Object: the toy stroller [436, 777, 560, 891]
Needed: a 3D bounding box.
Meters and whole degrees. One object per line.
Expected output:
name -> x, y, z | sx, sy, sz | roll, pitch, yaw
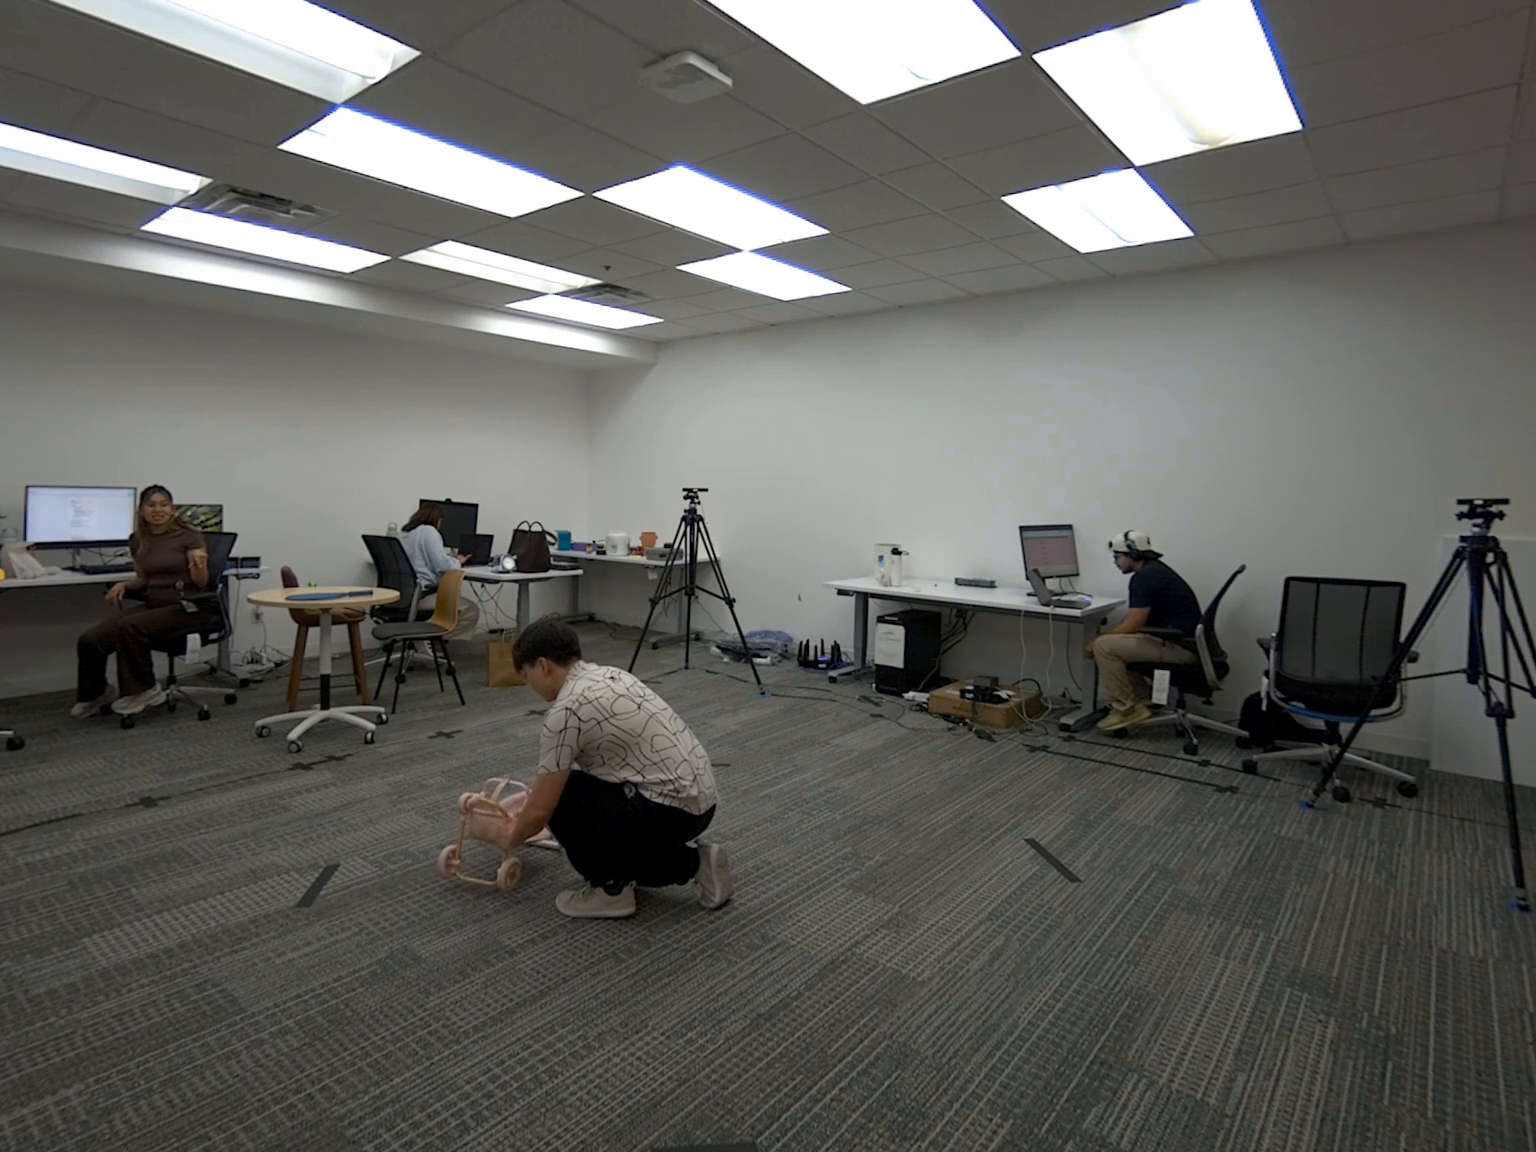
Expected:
toy stroller -> -0.957, 0.883, 3.039 | 0.287, 0.342, 0.523 | -3, 0, 21
